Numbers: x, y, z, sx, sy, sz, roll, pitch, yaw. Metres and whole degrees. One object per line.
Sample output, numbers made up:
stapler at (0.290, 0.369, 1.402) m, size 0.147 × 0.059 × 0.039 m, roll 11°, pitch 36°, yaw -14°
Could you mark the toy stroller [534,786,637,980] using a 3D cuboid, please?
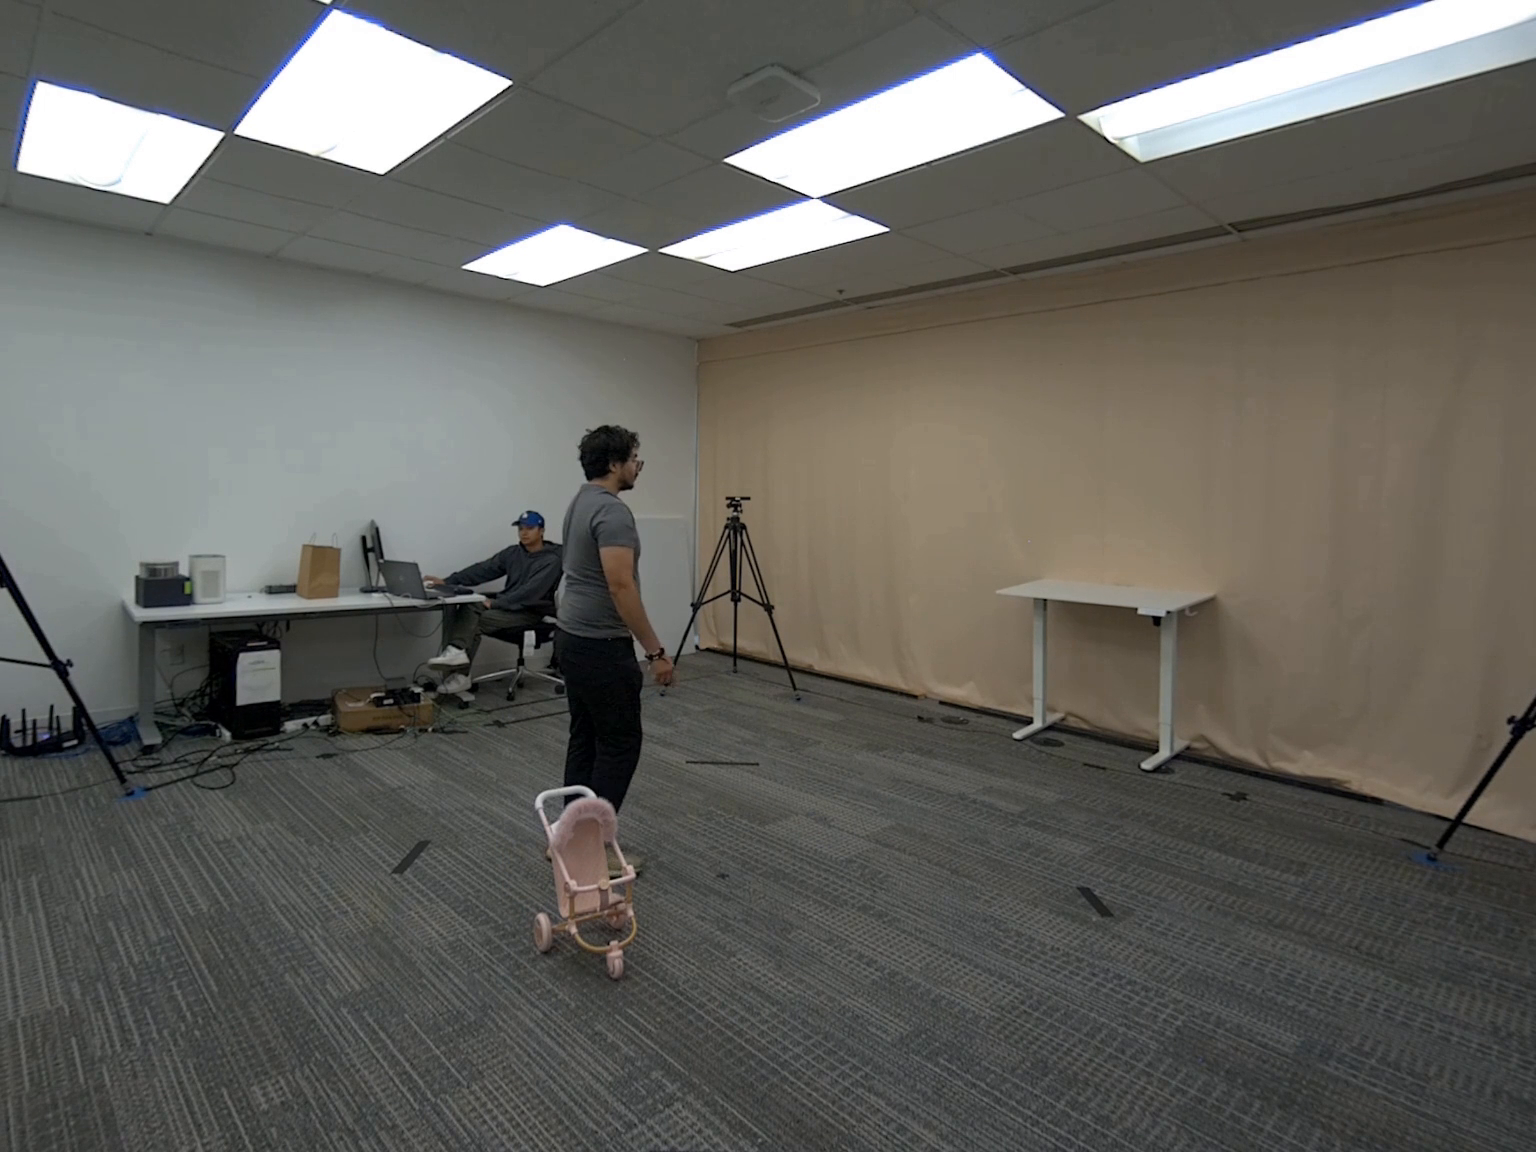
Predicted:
toy stroller at (-0.557, 0.923, 2.578) m, size 0.275 × 0.540 × 0.345 m, roll -1°, pitch -12°, yaw -32°
